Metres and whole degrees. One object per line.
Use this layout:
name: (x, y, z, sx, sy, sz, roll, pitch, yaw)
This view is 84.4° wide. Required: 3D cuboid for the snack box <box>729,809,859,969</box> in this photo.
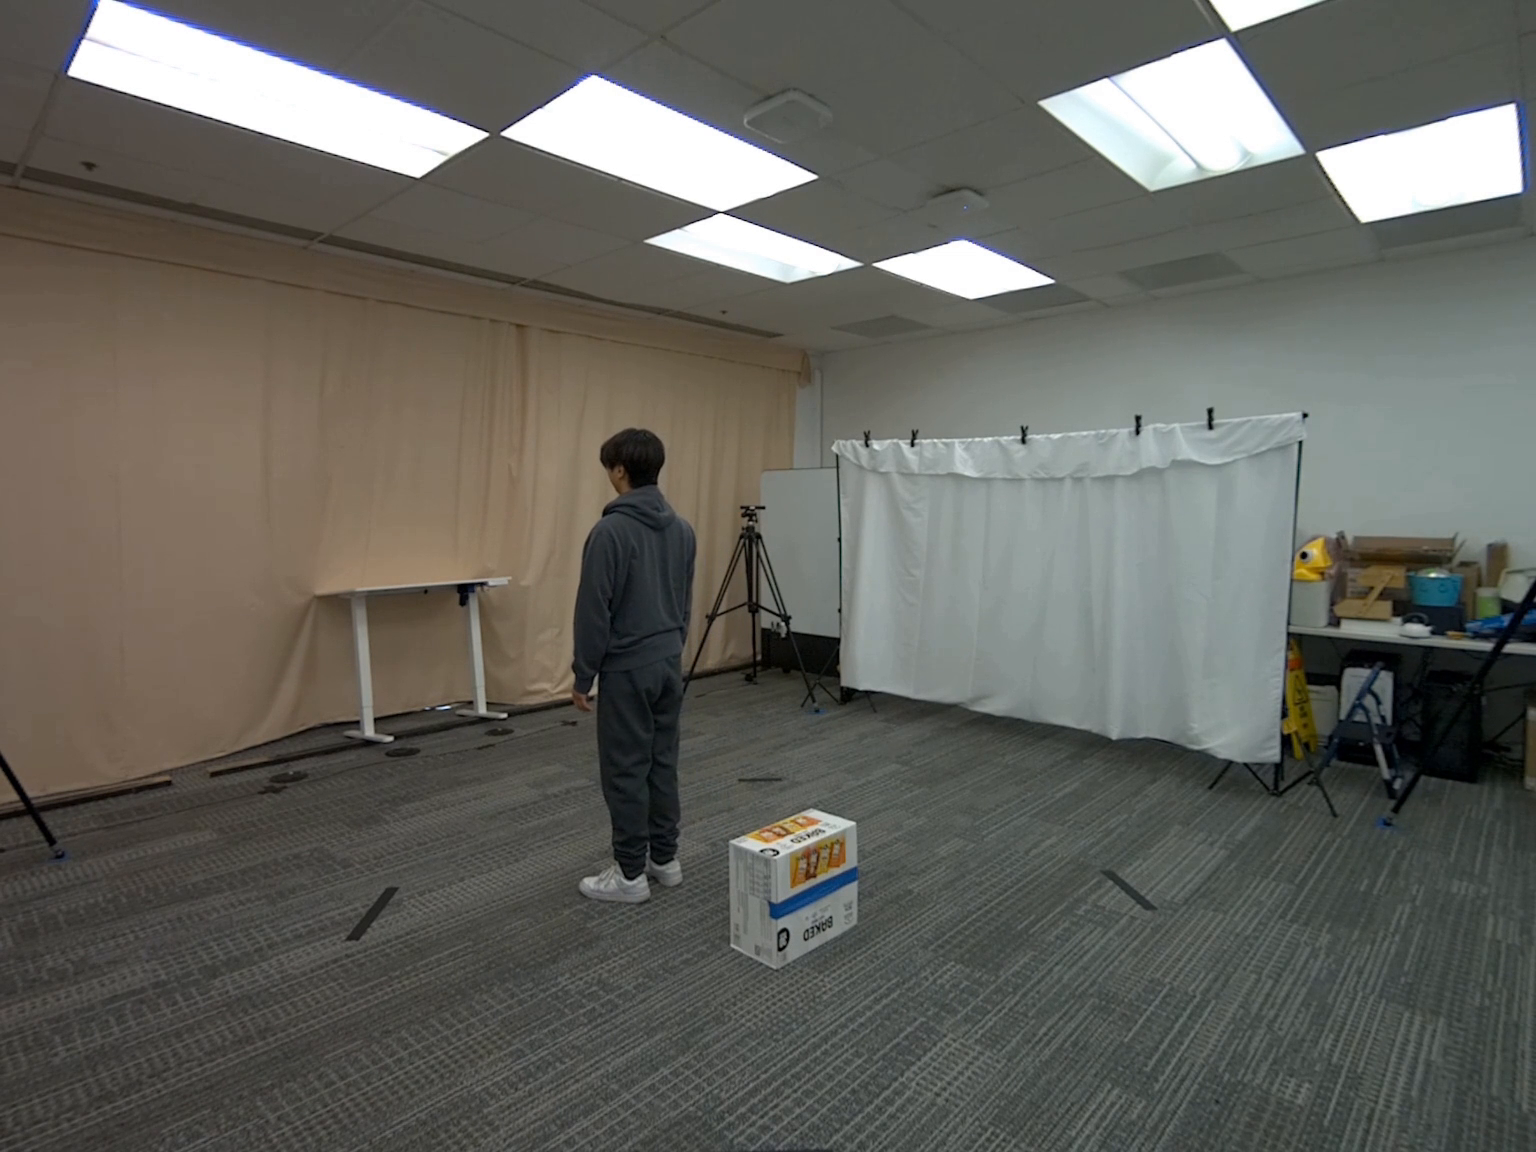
snack box: (0.092, 0.998, 2.725, 0.212, 0.340, 0.393, 1, 3, 45)
